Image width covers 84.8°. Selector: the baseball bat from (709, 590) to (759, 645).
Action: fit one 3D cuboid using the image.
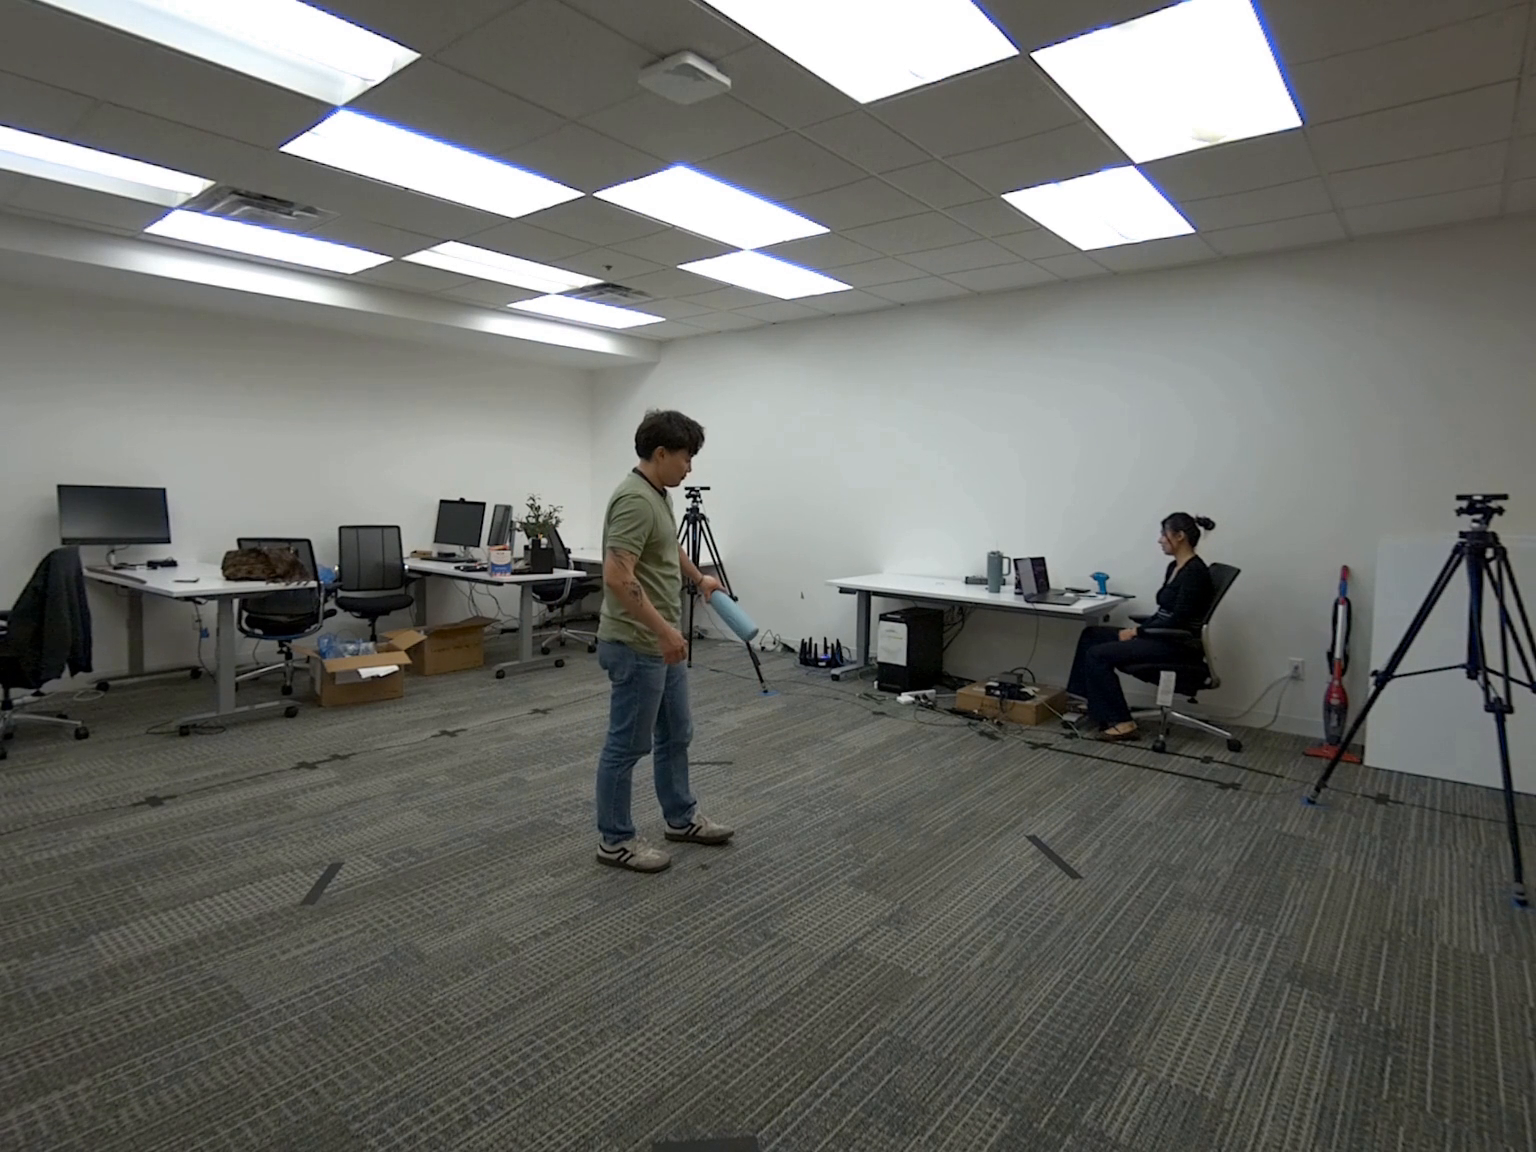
[{"bbox_3d":[-0.252,0.069,3.609,0.562,0.088,0.086,44,25,26],"label":"baseball bat"}]
